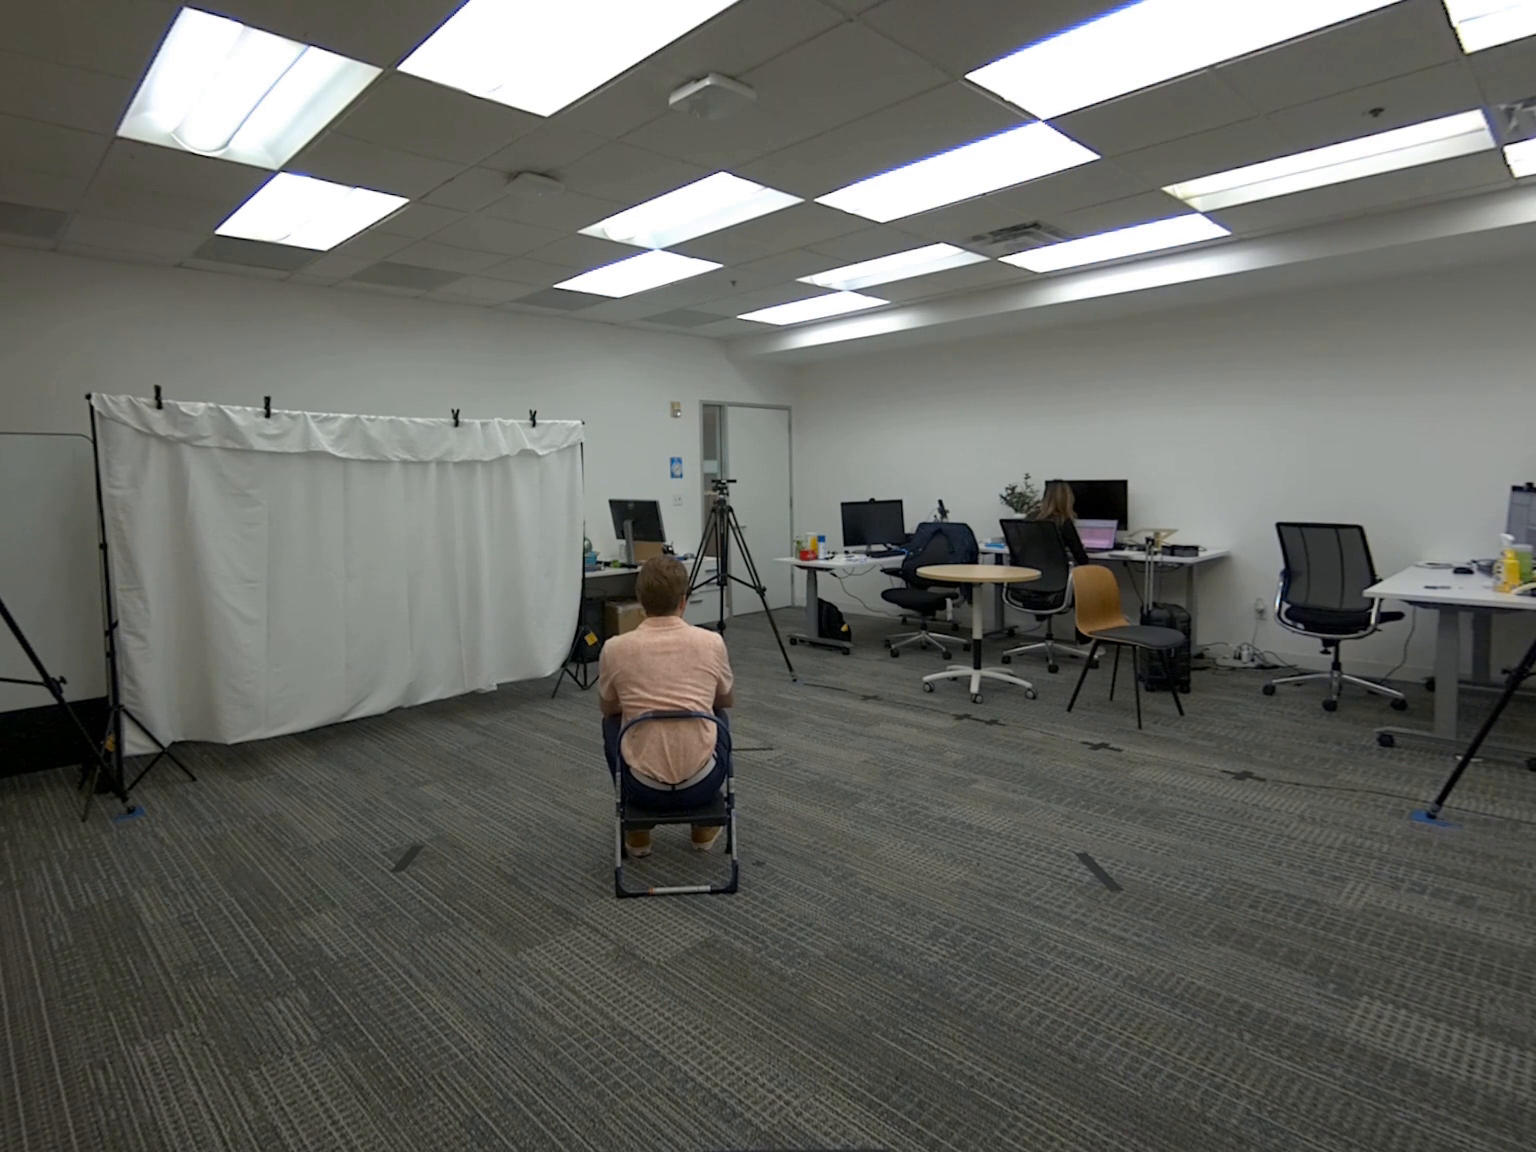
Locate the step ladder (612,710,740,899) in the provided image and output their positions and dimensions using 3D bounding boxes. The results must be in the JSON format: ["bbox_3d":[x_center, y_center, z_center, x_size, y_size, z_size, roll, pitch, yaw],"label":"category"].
[{"bbox_3d":[-0.329,0.767,3.025,0.429,0.604,0.352,-1,4,-5],"label":"step ladder"}]
